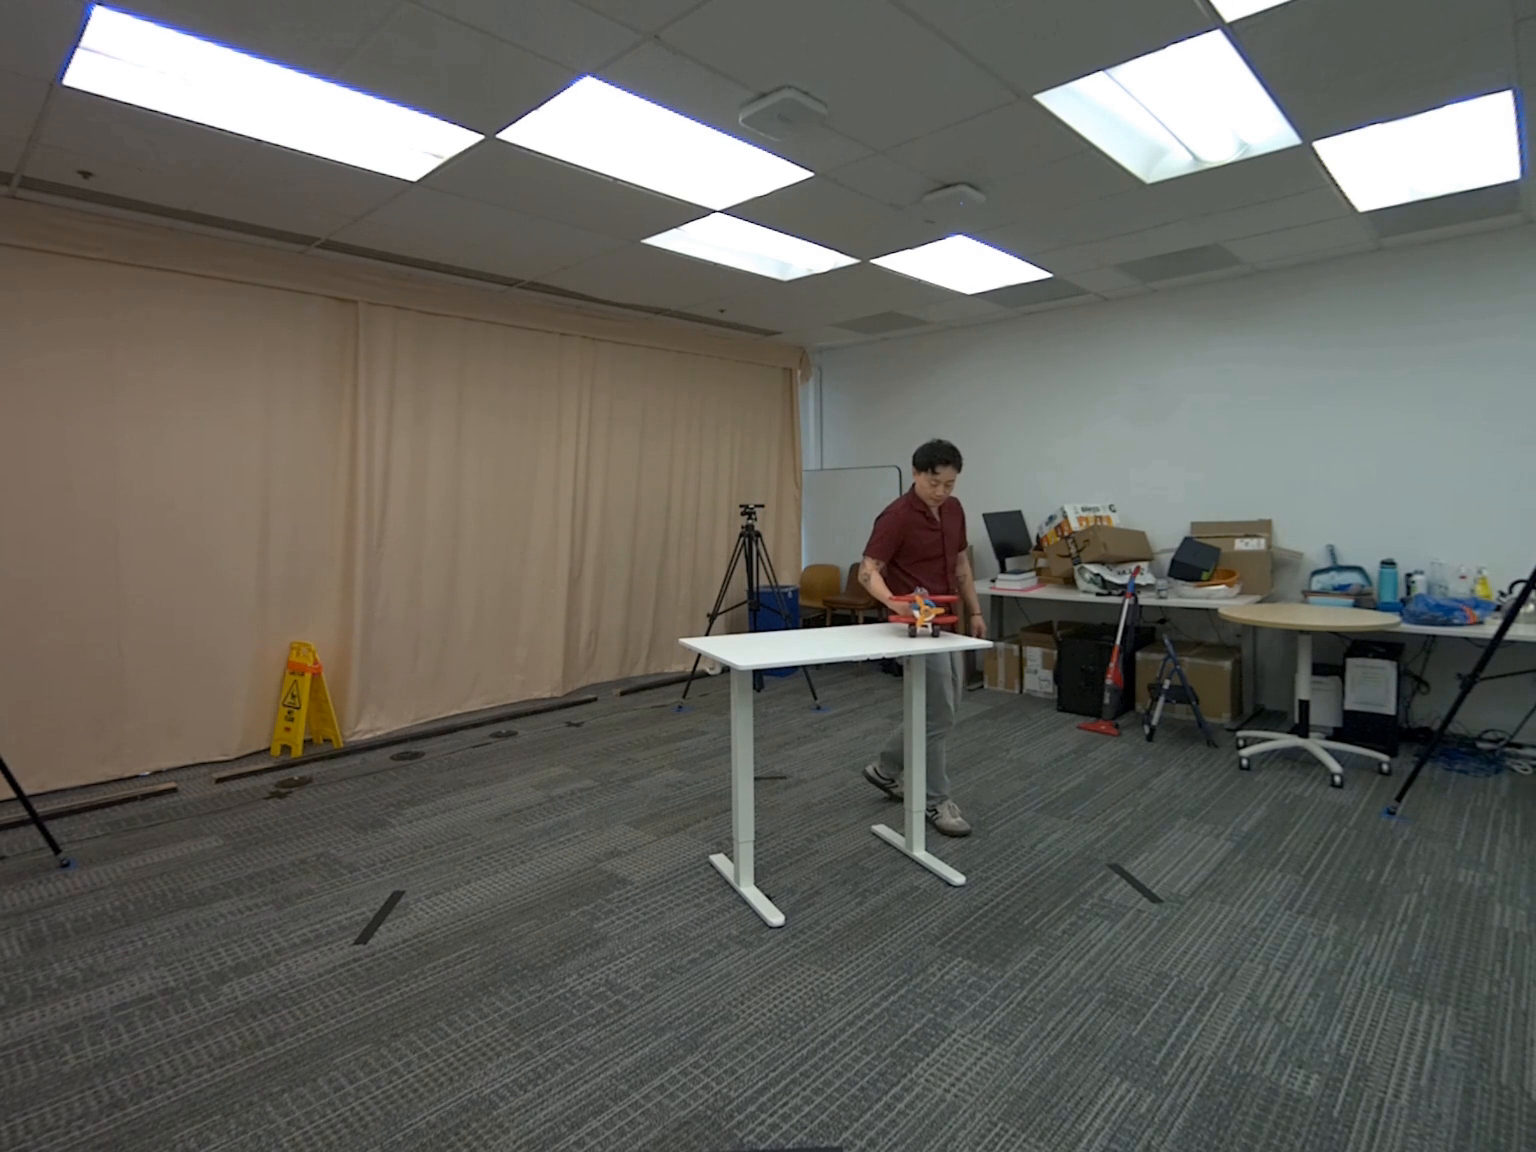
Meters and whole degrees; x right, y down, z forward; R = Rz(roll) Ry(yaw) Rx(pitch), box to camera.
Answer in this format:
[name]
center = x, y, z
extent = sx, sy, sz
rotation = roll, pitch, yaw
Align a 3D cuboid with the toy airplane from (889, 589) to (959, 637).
[toy airplane]
center = 0.573, 0.133, 3.242
extent = 0.245, 0.154, 0.268
rotation = -13, 24, -30
